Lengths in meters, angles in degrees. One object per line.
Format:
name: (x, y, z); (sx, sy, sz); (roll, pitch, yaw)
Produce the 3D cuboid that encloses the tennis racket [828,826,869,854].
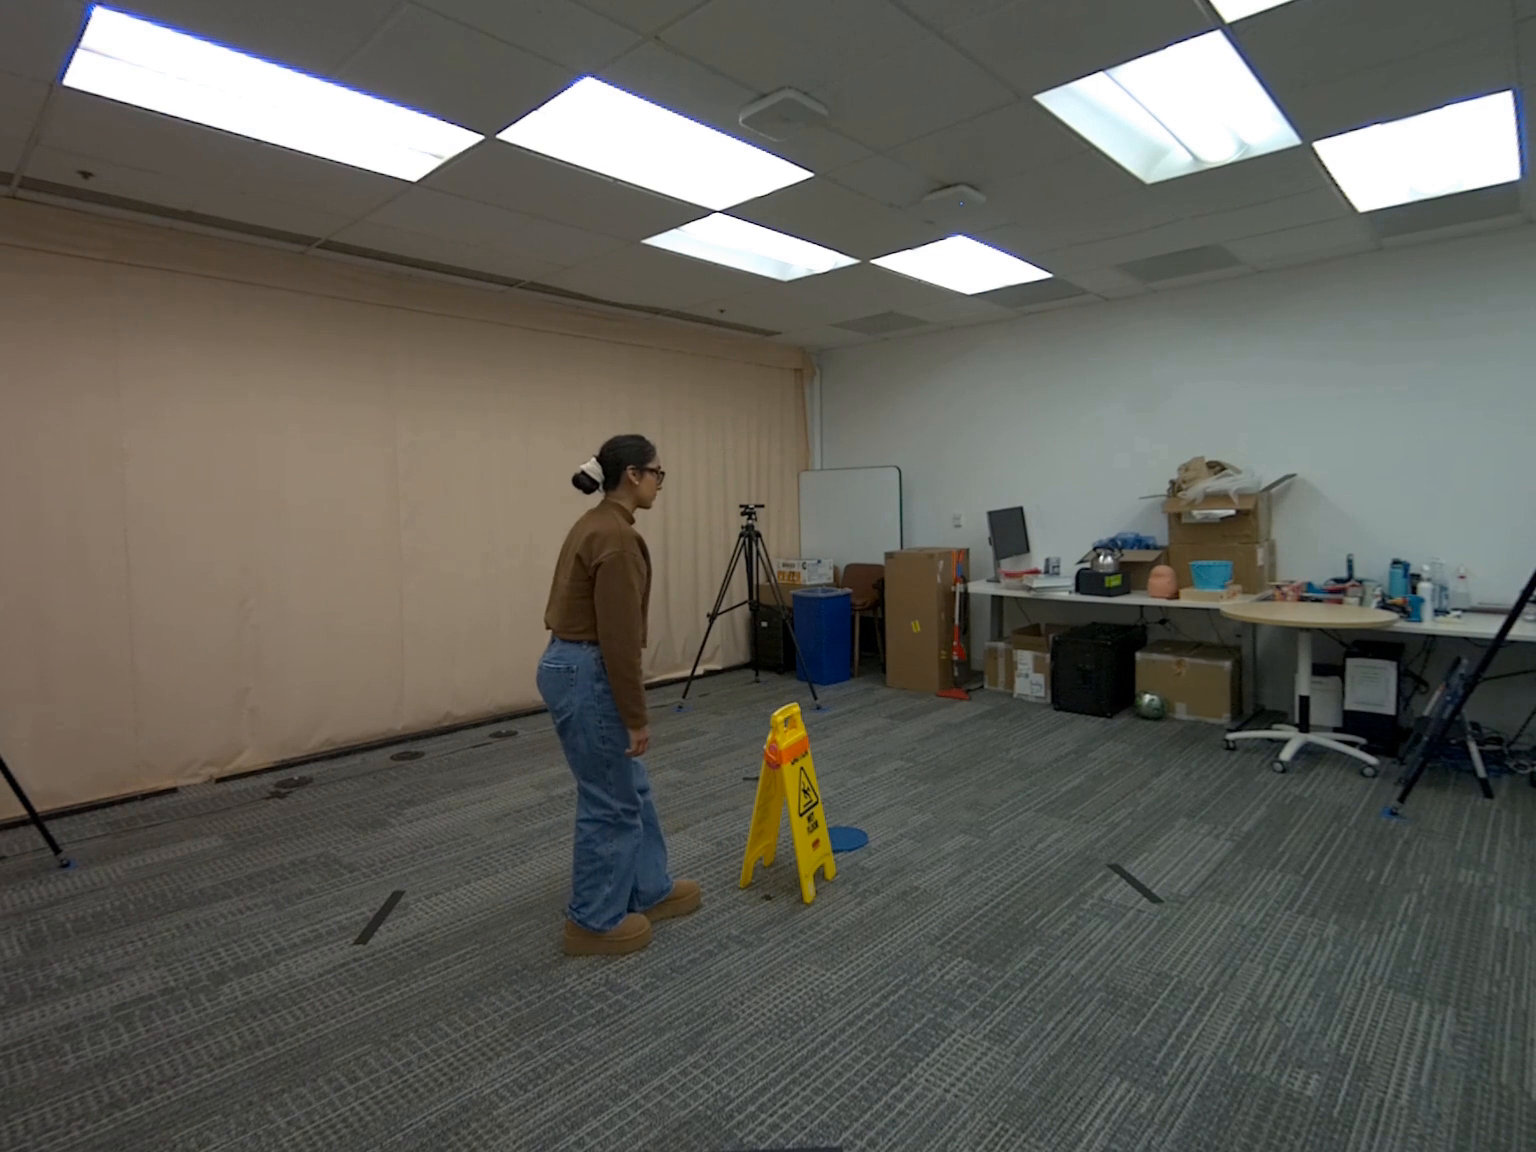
tennis racket: (0.257, 1.084, 3.401); (0.220, 0.032, 0.421); (2, 5, 32)
